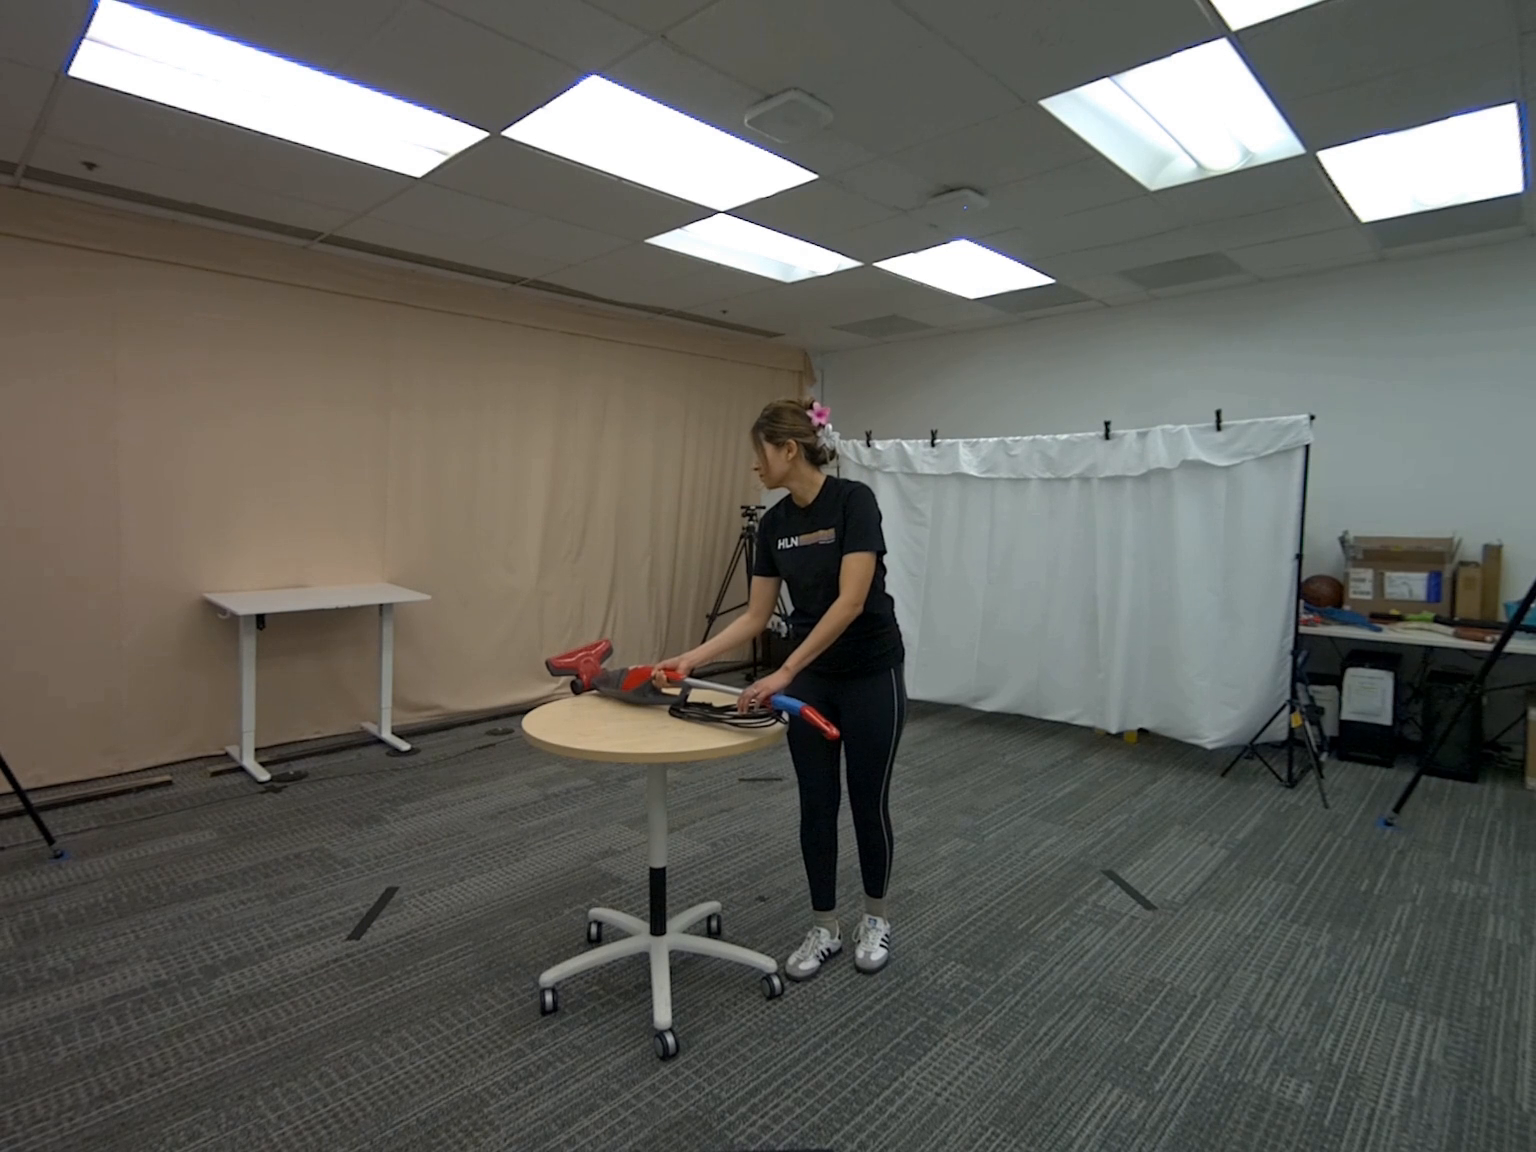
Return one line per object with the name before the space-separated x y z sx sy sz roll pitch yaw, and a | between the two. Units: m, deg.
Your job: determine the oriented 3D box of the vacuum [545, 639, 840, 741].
vacuum | -0.241 0.355 2.412 0.246 0.143 1.085 -17 16 -42
